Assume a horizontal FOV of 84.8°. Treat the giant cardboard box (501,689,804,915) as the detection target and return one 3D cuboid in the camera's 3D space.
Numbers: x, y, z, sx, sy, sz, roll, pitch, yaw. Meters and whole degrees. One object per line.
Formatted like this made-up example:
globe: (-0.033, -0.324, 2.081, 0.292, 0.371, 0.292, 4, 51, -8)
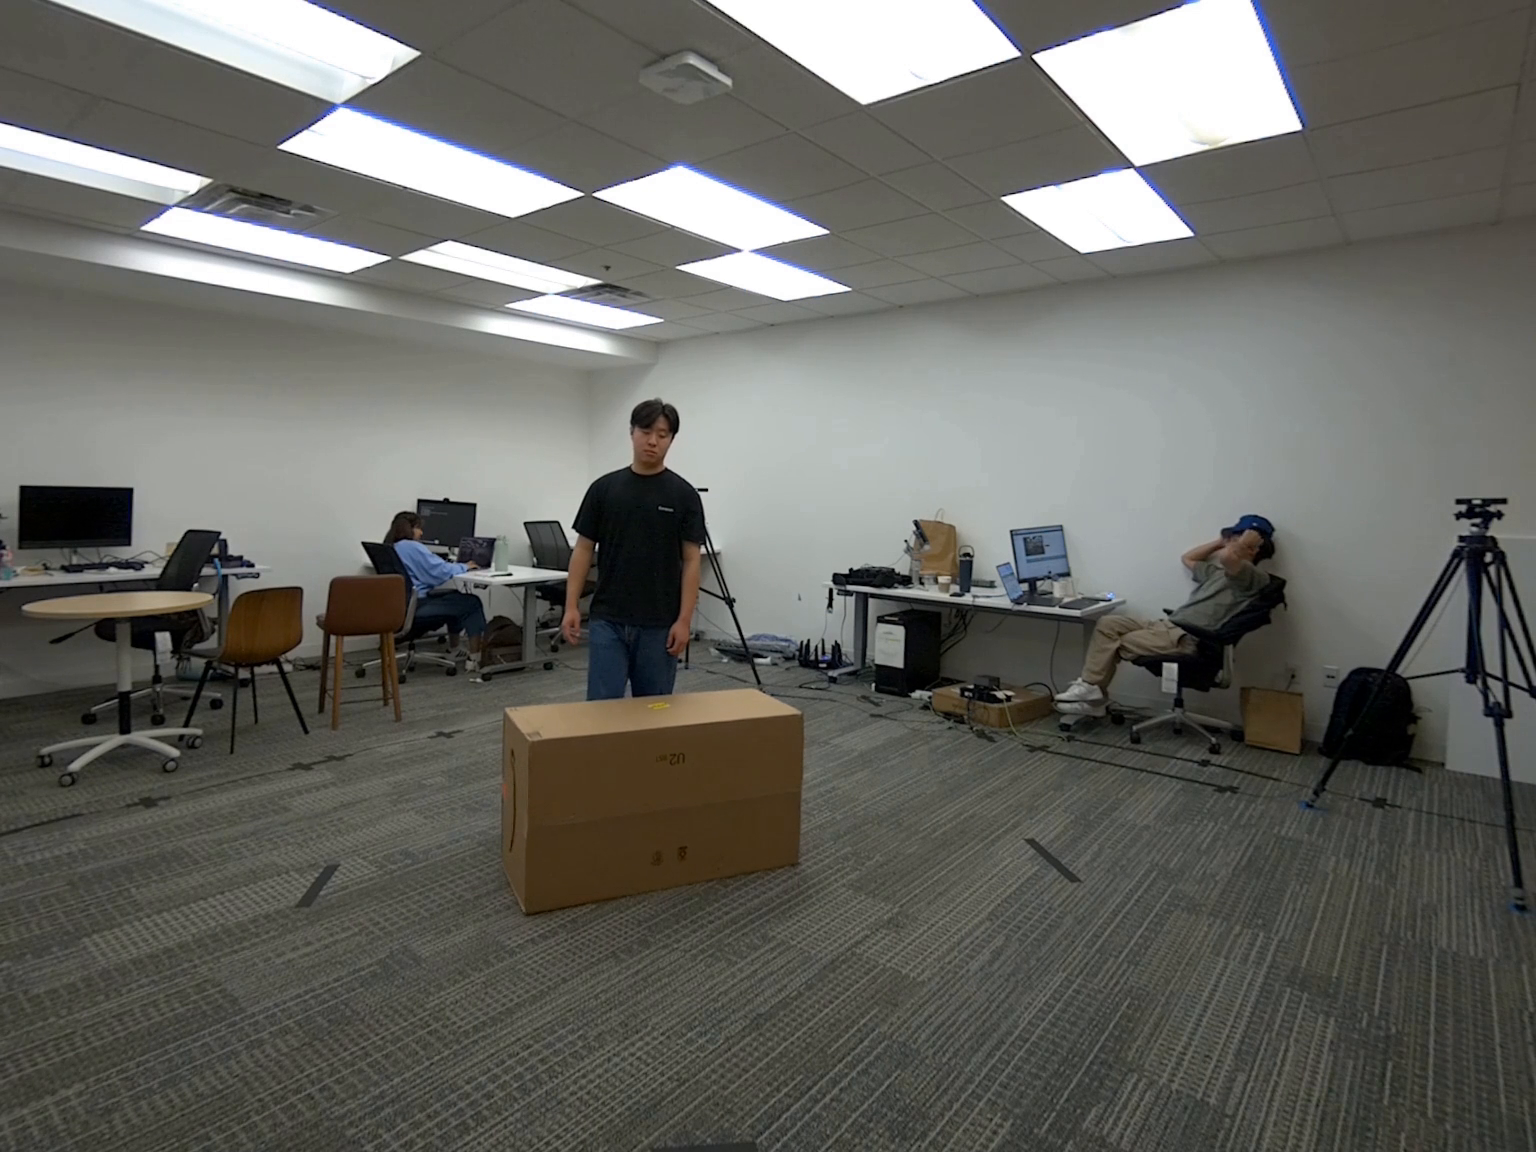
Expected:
giant cardboard box: (-0.427, 0.777, 3.127, 1.002, 0.583, 0.459, -1, 3, -26)
